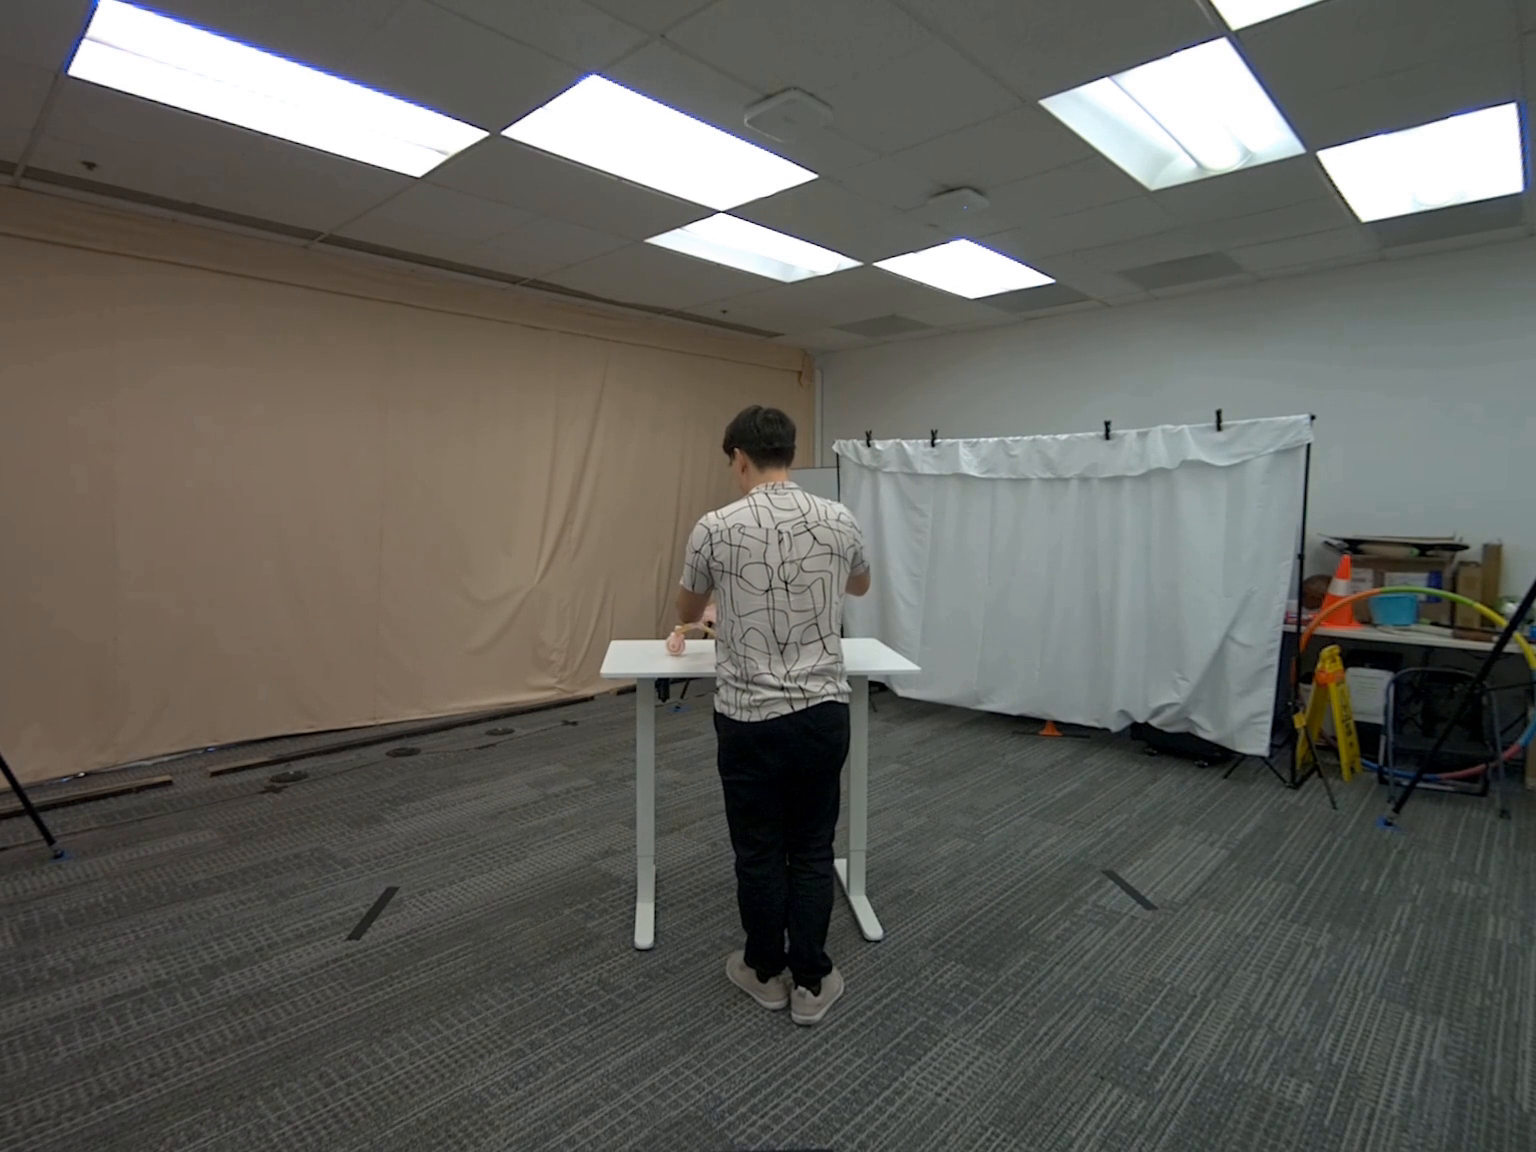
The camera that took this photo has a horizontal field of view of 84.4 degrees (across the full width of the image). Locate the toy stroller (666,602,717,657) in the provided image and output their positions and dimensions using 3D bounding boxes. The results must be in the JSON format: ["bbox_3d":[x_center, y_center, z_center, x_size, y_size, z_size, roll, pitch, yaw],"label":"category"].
[{"bbox_3d":[-0.128,0.048,2.796,0.349,0.533,0.276,15,7,18],"label":"toy stroller"}]
